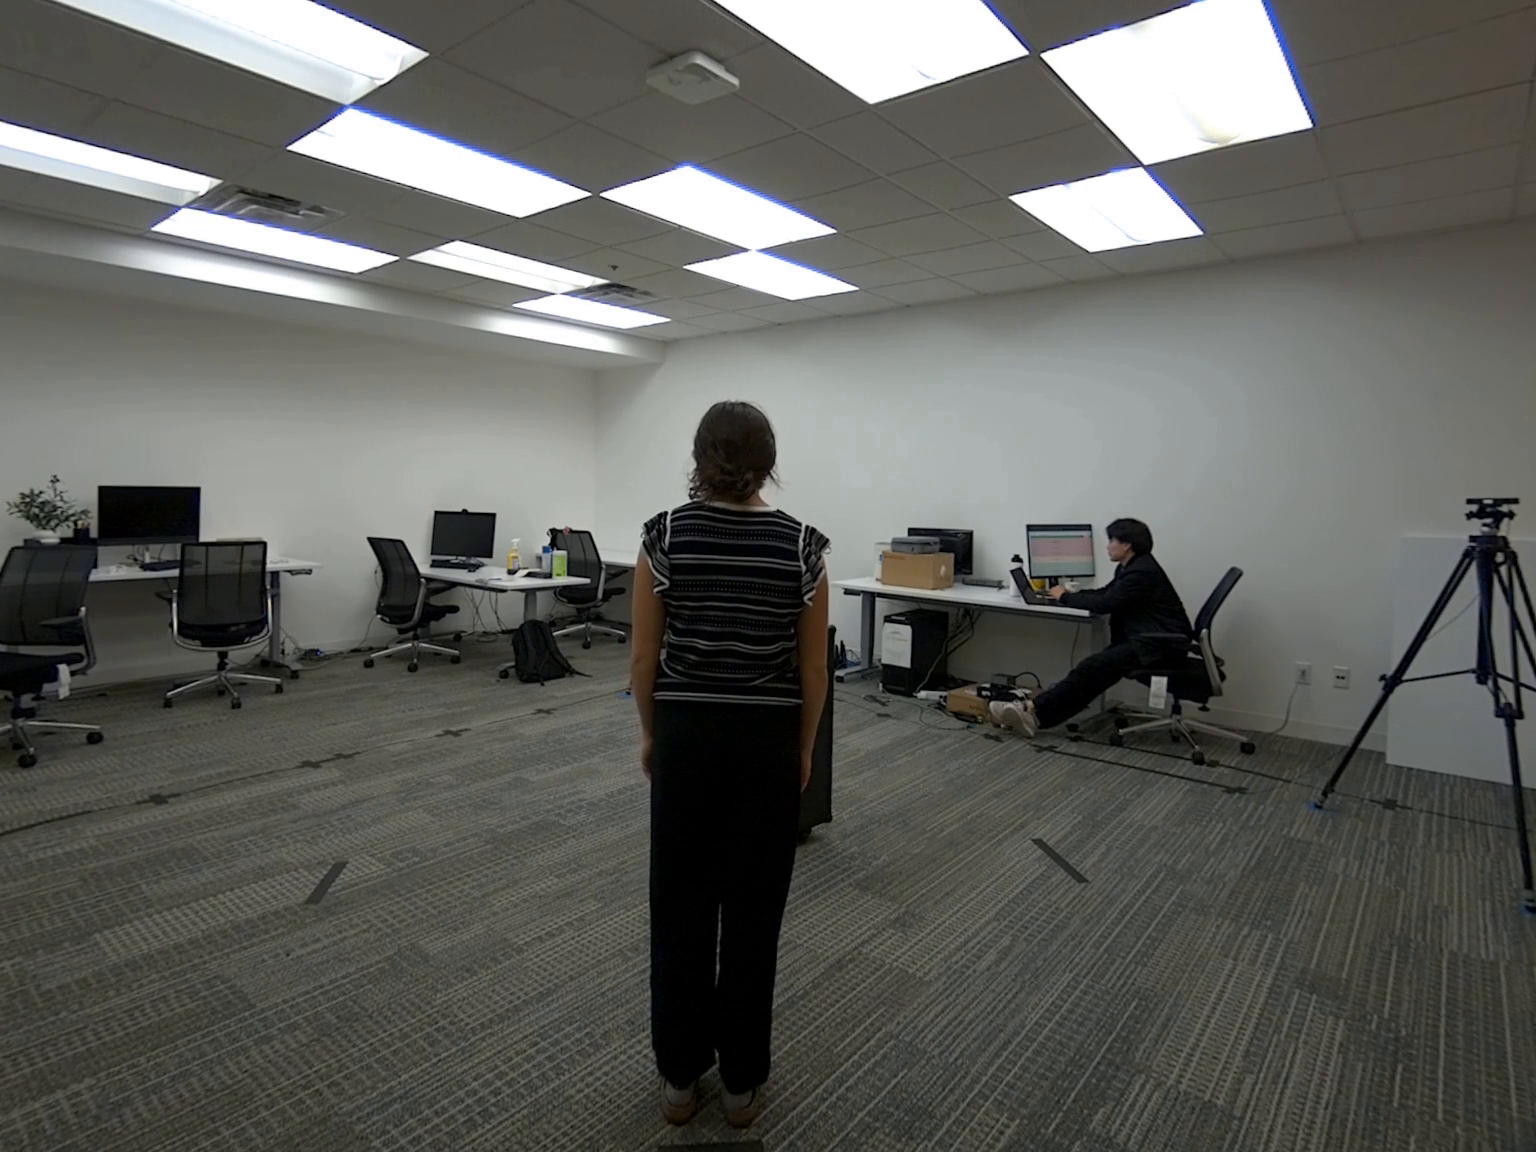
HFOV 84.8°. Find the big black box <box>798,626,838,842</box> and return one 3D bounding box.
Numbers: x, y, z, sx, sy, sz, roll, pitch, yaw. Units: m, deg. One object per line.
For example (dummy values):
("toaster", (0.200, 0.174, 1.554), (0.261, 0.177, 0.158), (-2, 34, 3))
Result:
("big black box", (-0.056, 0.614, 3.366), (0.505, 0.860, 0.409), (-2, 3, -42))
